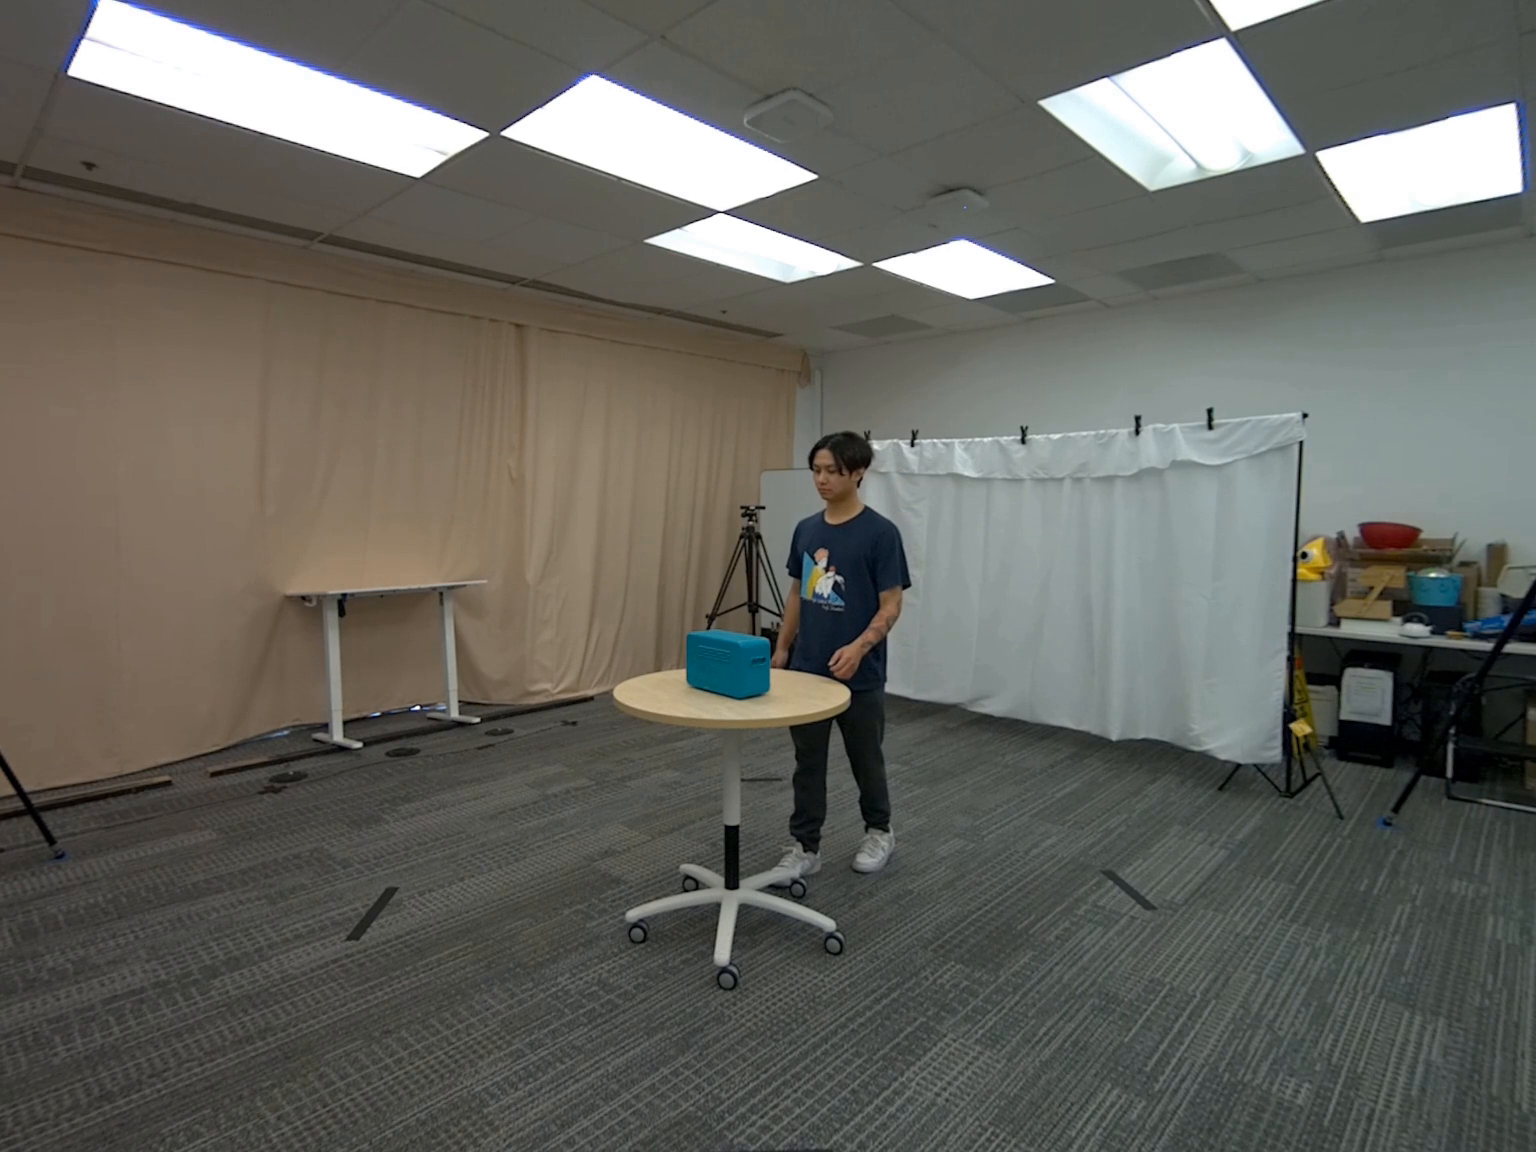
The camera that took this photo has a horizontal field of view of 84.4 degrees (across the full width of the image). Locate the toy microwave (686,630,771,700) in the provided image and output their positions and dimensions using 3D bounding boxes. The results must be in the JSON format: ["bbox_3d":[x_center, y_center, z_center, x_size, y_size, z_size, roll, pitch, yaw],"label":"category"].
[{"bbox_3d":[-0.118,0.279,2.713,0.147,0.184,0.296,-2,4,-42],"label":"toy microwave"}]
